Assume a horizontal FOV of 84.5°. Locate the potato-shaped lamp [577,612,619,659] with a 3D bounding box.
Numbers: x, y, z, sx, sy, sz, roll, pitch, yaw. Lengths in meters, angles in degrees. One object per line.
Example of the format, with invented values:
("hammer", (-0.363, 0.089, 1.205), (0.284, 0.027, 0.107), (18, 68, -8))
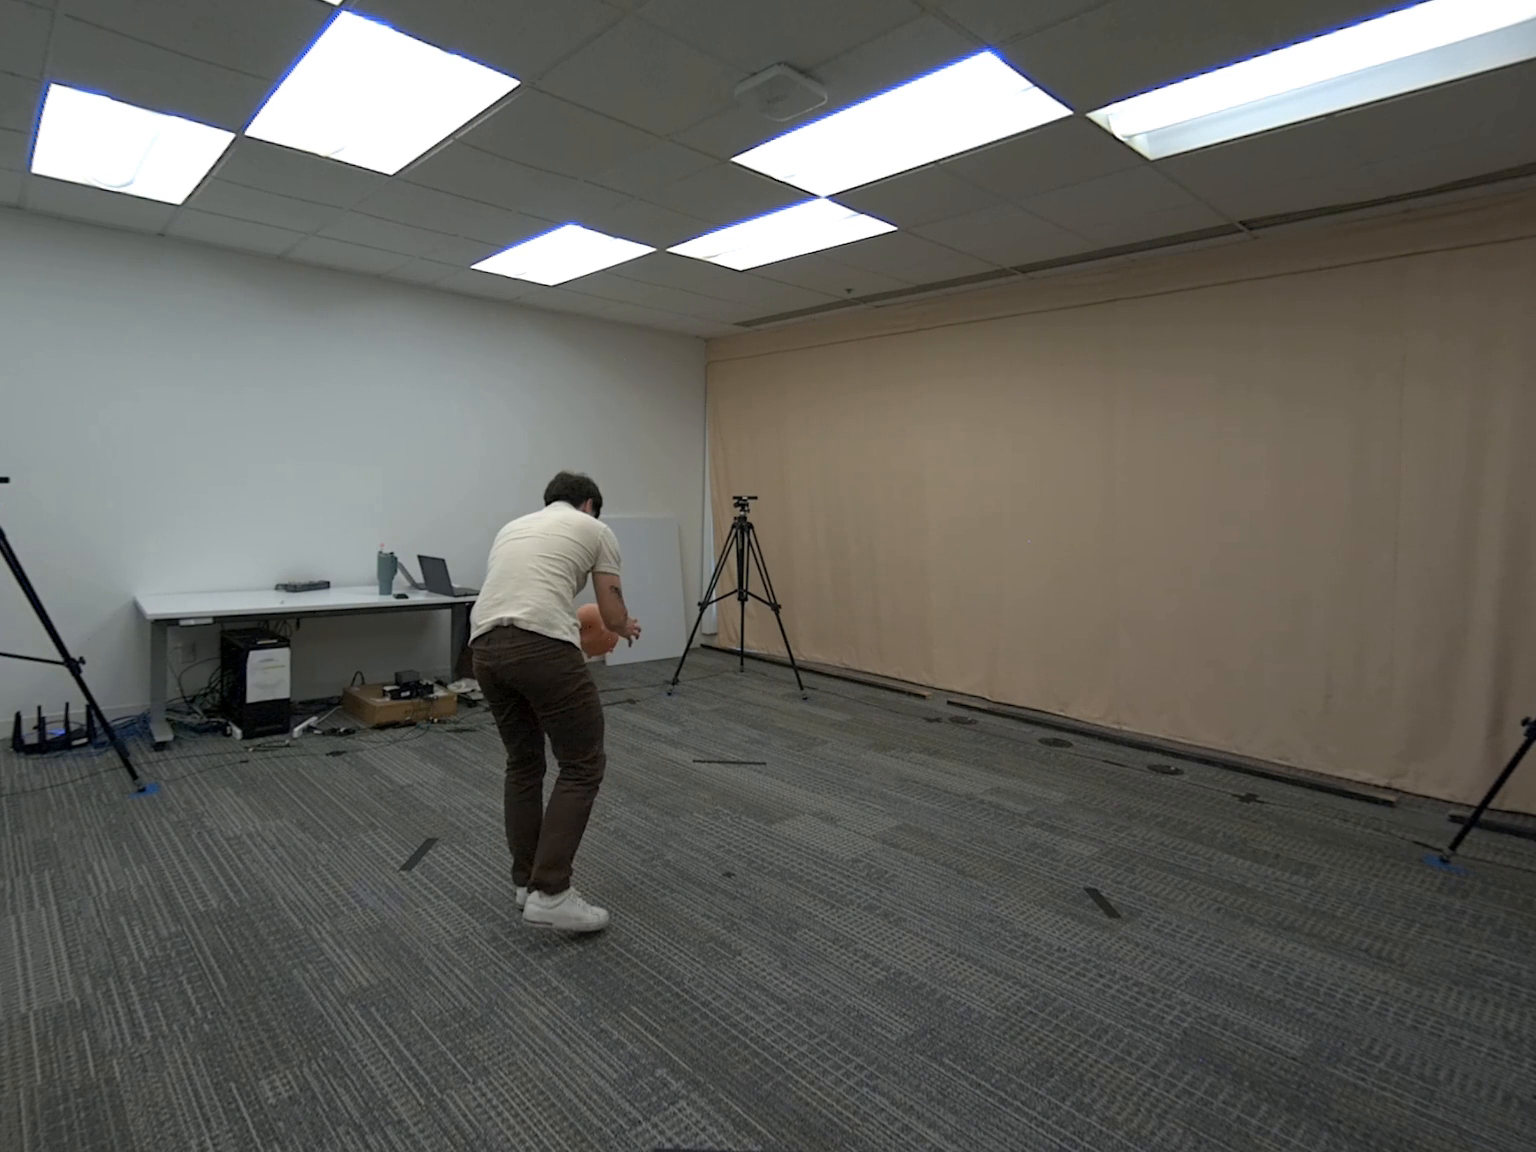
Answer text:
("potato-shaped lamp", (-0.686, 0.283, 3.346), (0.161, 0.199, 0.174), (1, -7, -36))
